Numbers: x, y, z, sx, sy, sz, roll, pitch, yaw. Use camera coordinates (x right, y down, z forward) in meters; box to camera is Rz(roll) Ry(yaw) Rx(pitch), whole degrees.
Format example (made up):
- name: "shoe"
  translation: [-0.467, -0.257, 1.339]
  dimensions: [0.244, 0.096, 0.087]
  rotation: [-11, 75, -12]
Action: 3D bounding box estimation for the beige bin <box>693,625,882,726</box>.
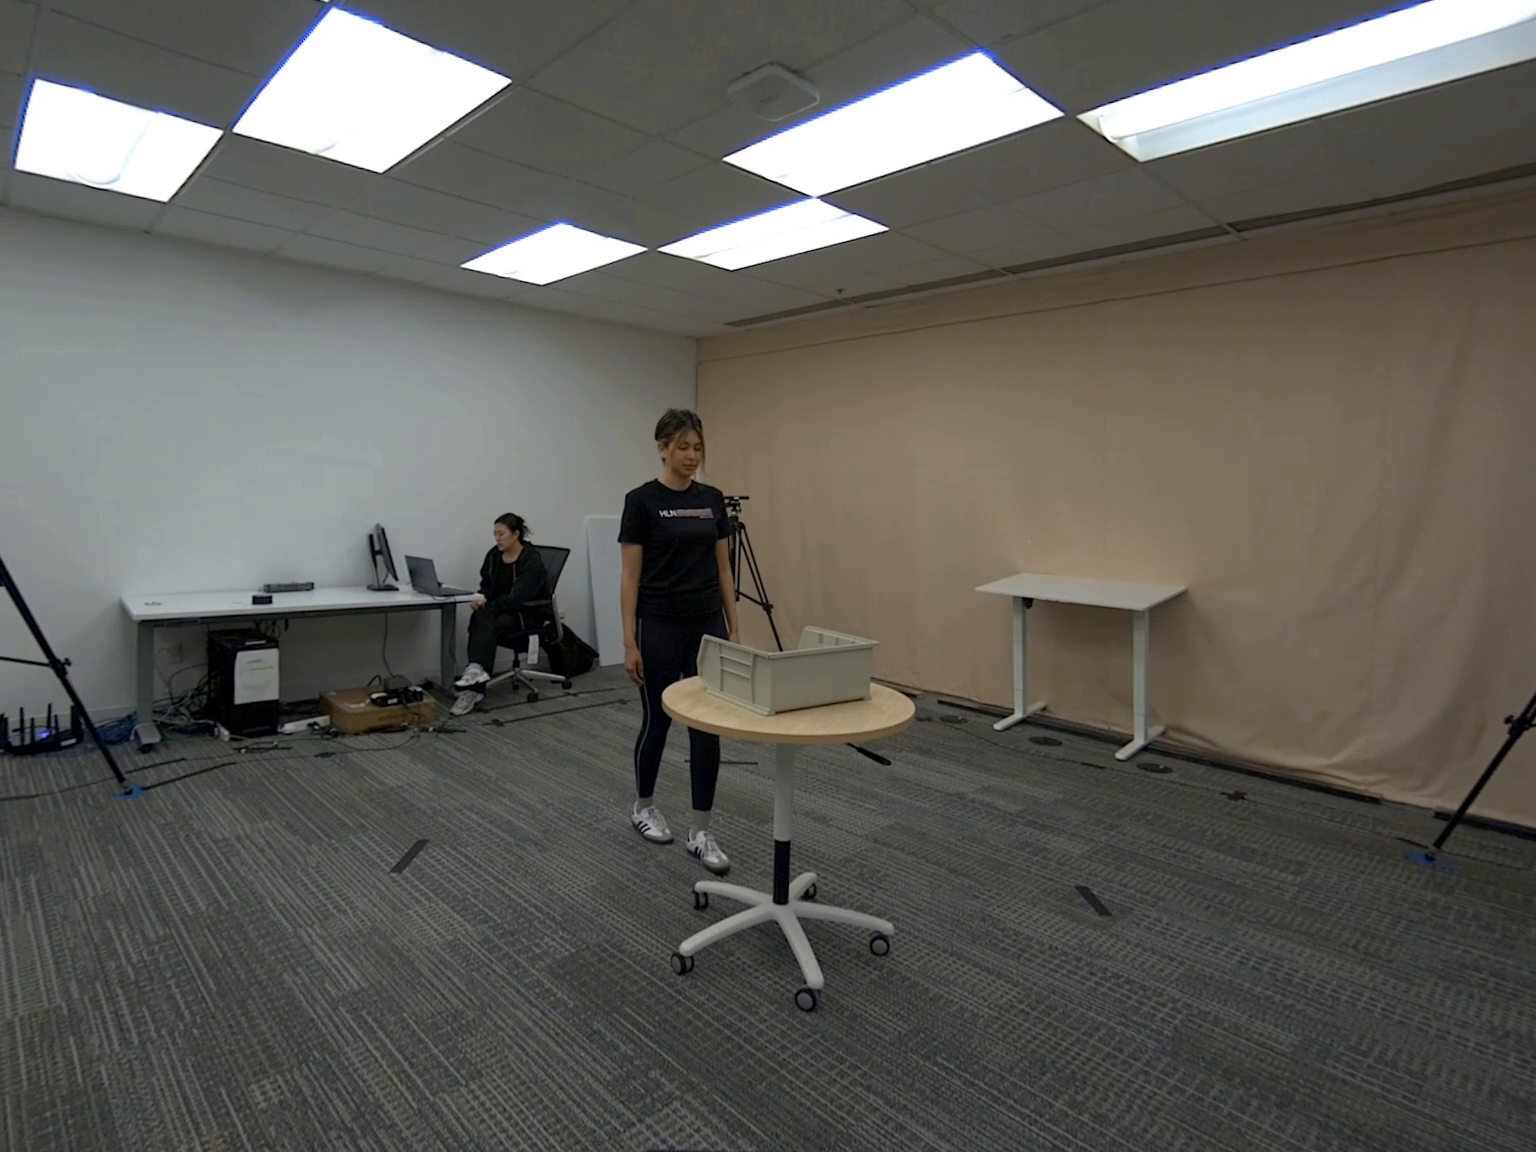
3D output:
- name: "beige bin"
  translation: [0.055, 0.287, 2.593]
  dimensions: [0.413, 0.188, 0.387]
  rotation: [-2, 7, -37]
